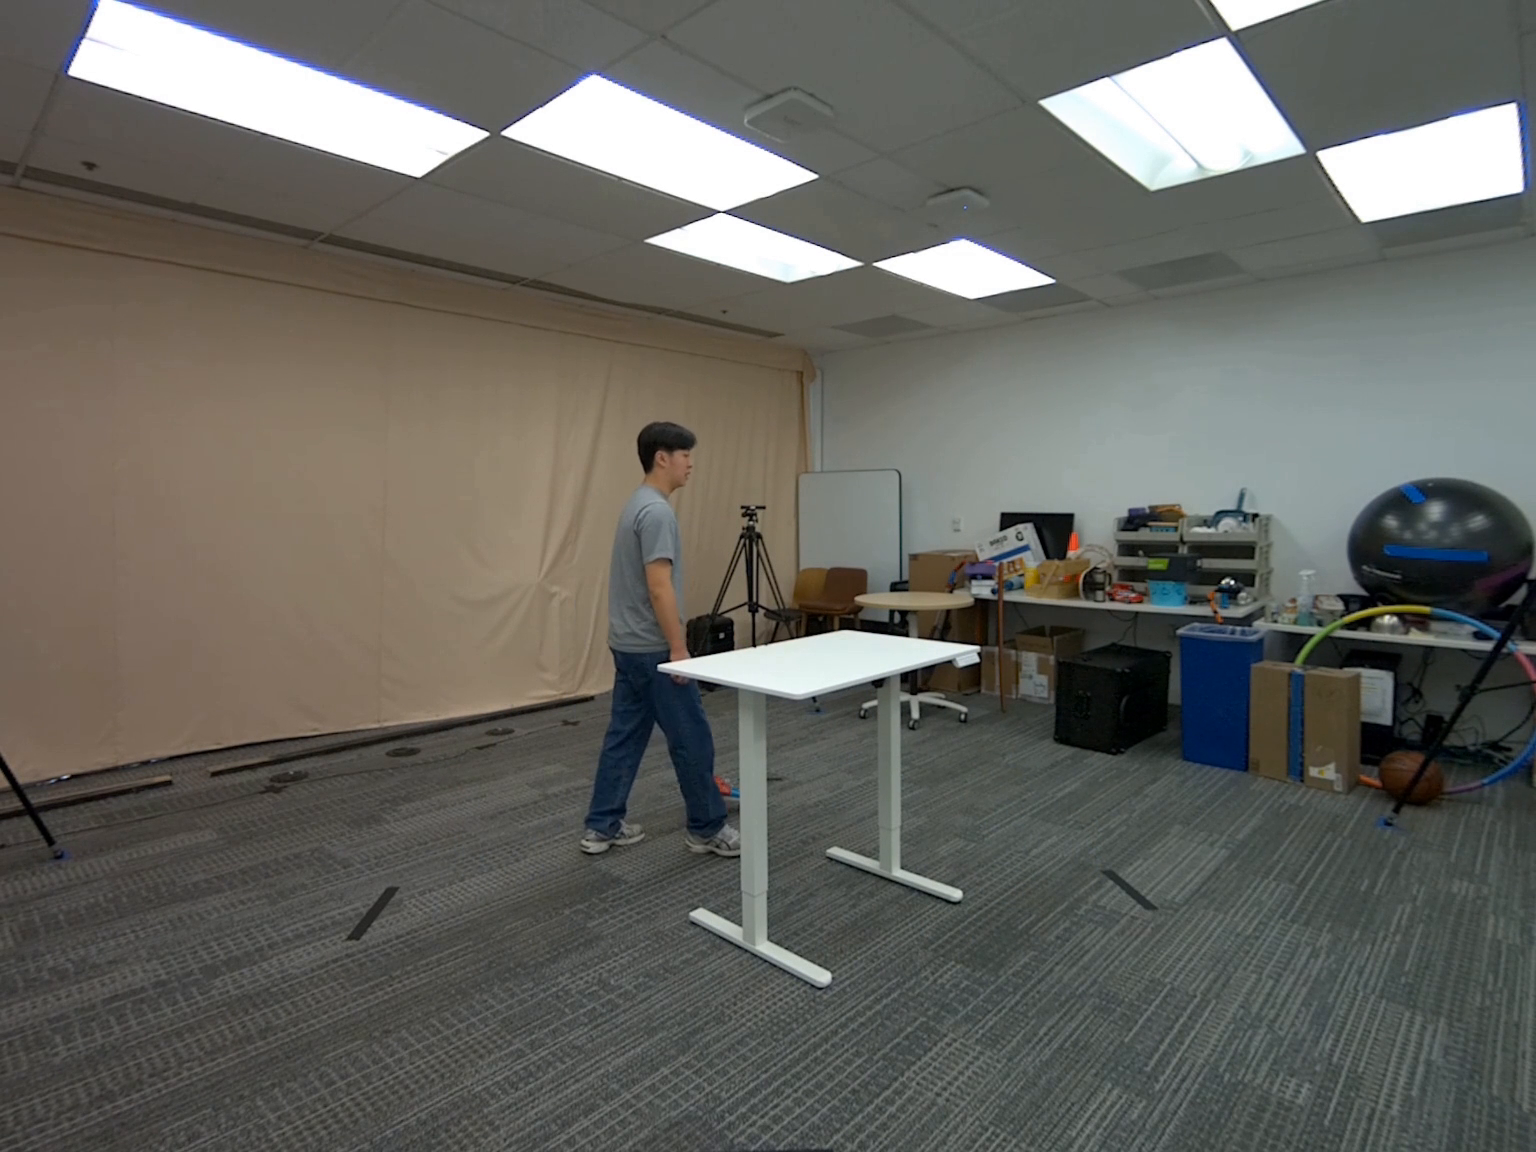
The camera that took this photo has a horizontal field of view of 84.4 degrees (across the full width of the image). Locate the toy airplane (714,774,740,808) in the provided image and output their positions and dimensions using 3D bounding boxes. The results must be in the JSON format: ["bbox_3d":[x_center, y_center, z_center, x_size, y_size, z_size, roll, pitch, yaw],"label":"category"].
[{"bbox_3d":[-0.207,1.001,3.842,0.251,0.156,0.259,-5,6,-44],"label":"toy airplane"}]
